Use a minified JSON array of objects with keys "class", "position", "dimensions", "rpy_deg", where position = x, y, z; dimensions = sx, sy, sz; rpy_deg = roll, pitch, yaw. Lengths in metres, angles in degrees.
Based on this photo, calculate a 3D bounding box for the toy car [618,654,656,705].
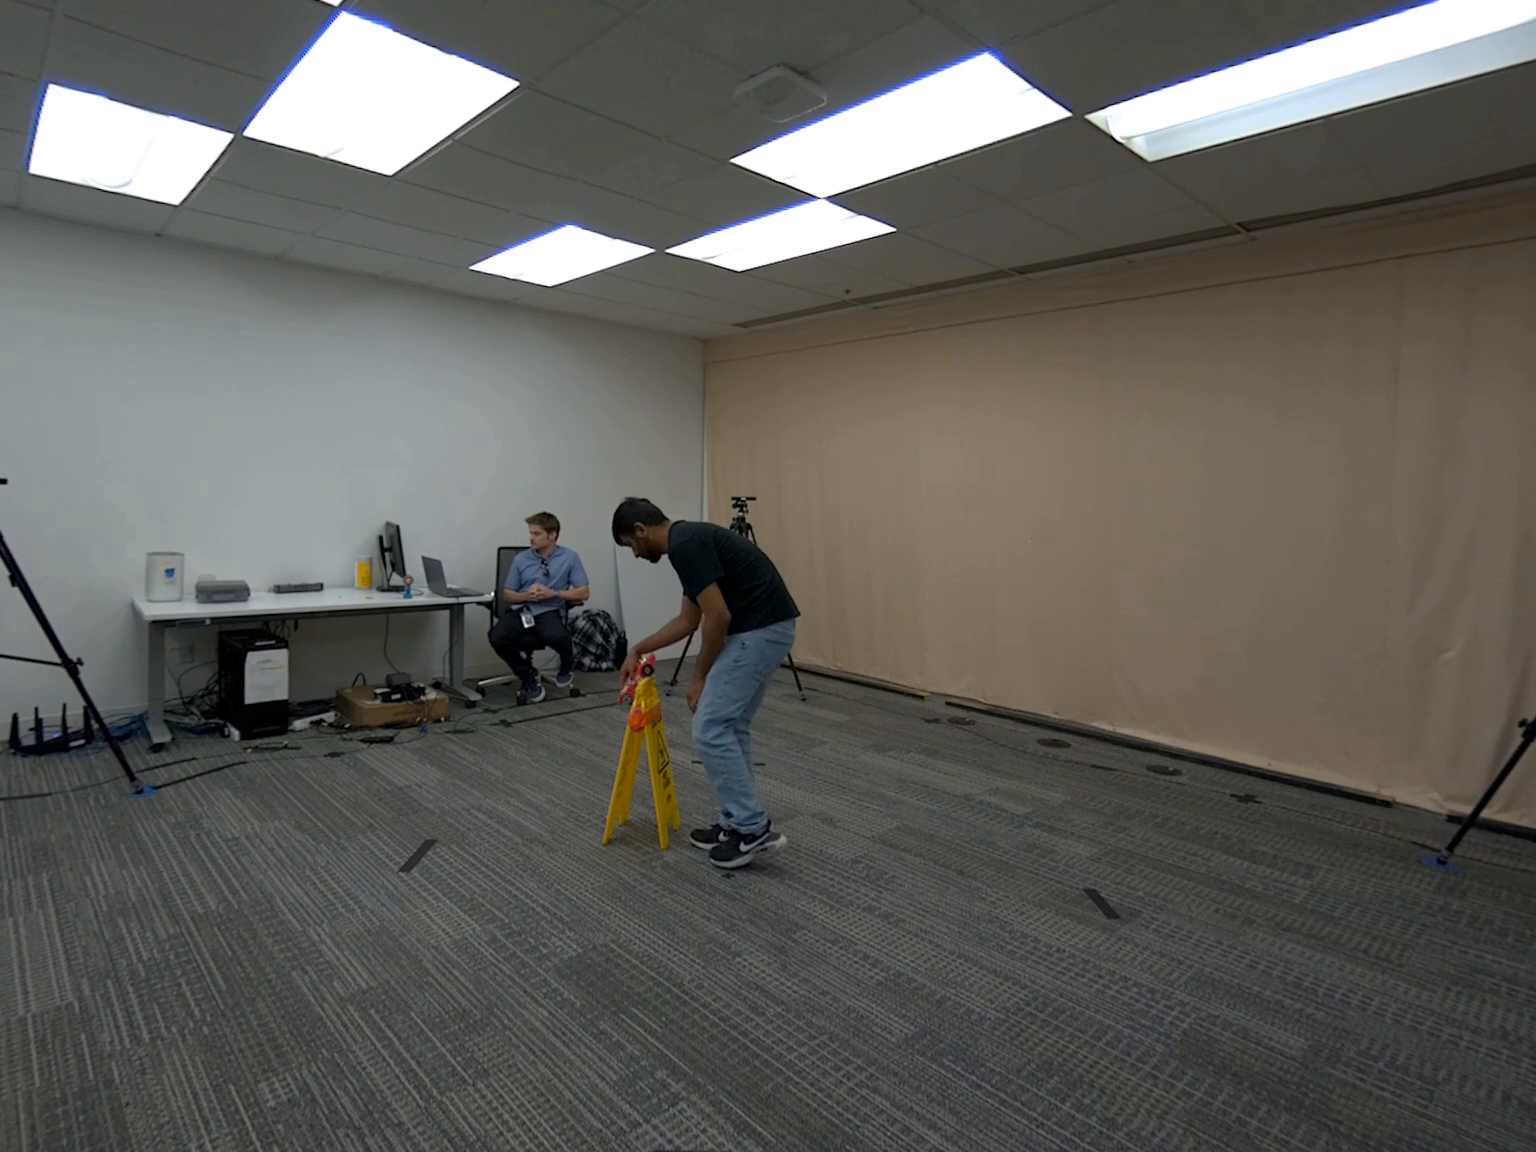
[{"class":"toy car","position":[-0.542,0.426,3.497],"dimensions":[0.083,0.255,0.130],"rpy_deg":[21,-8,-1]}]
